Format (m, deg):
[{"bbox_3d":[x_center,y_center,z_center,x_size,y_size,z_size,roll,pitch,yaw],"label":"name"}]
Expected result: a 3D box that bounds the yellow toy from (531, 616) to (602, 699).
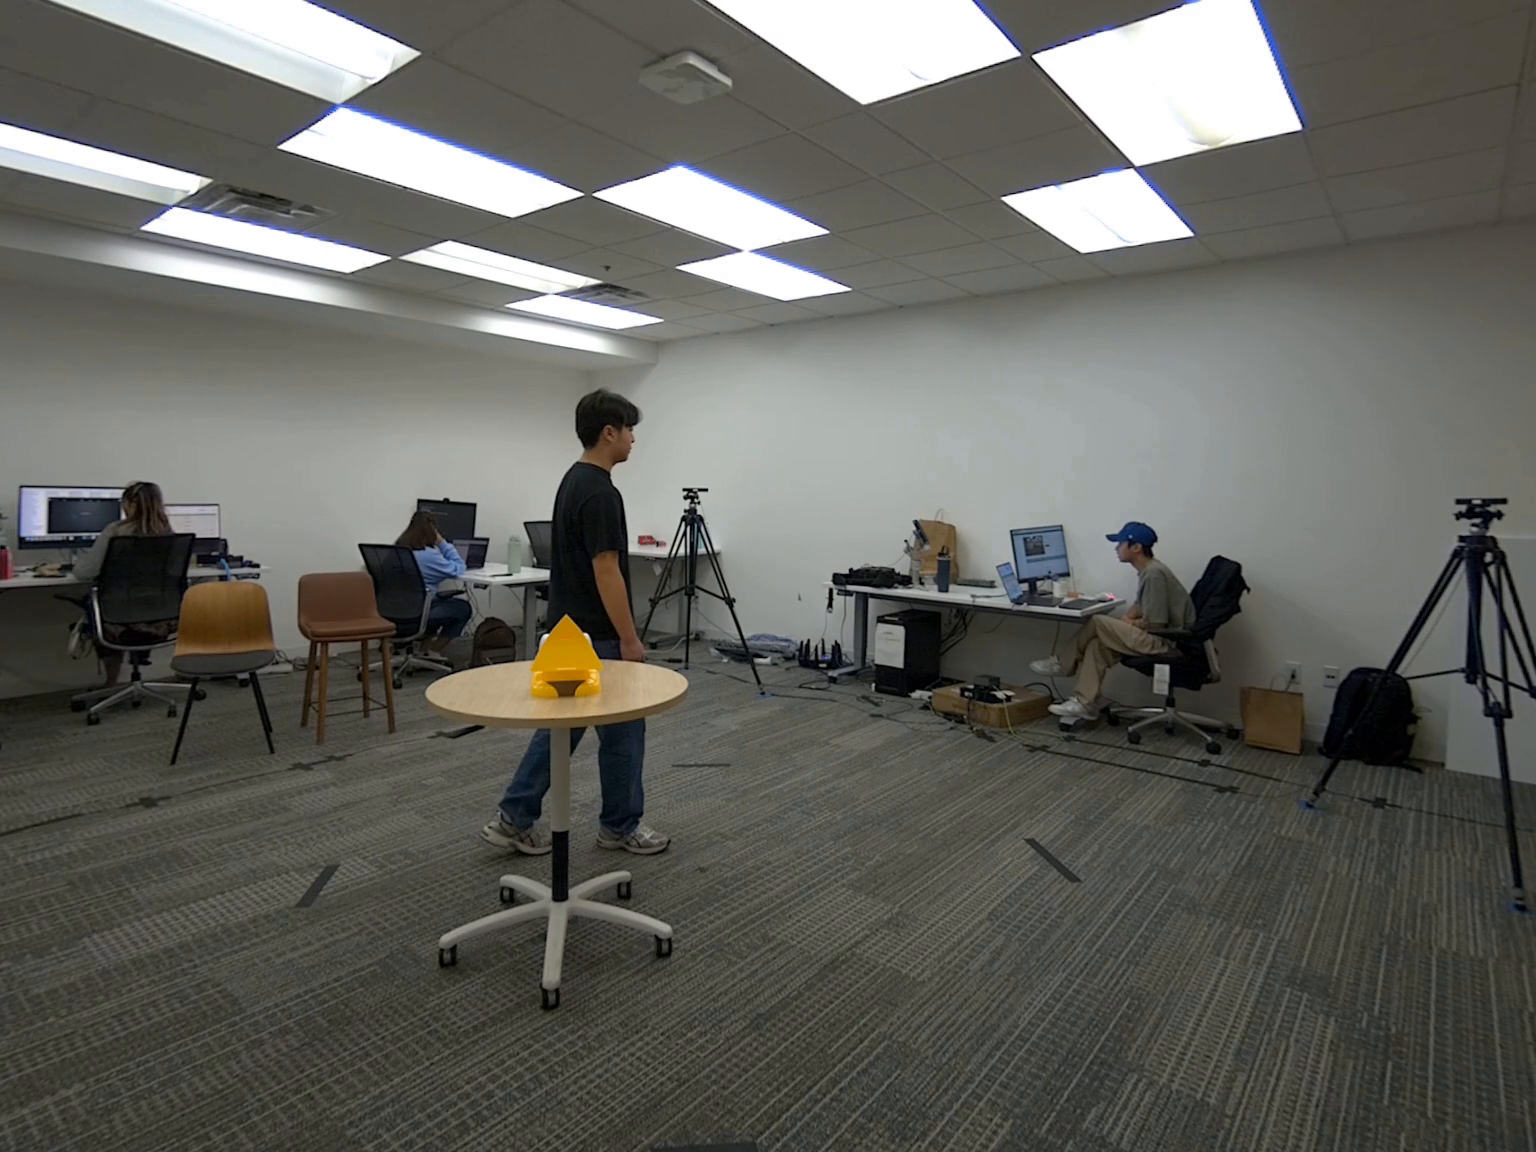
[{"bbox_3d":[-0.595,0.215,2.456,0.202,0.230,0.197,-1,5,-15],"label":"yellow toy"}]
